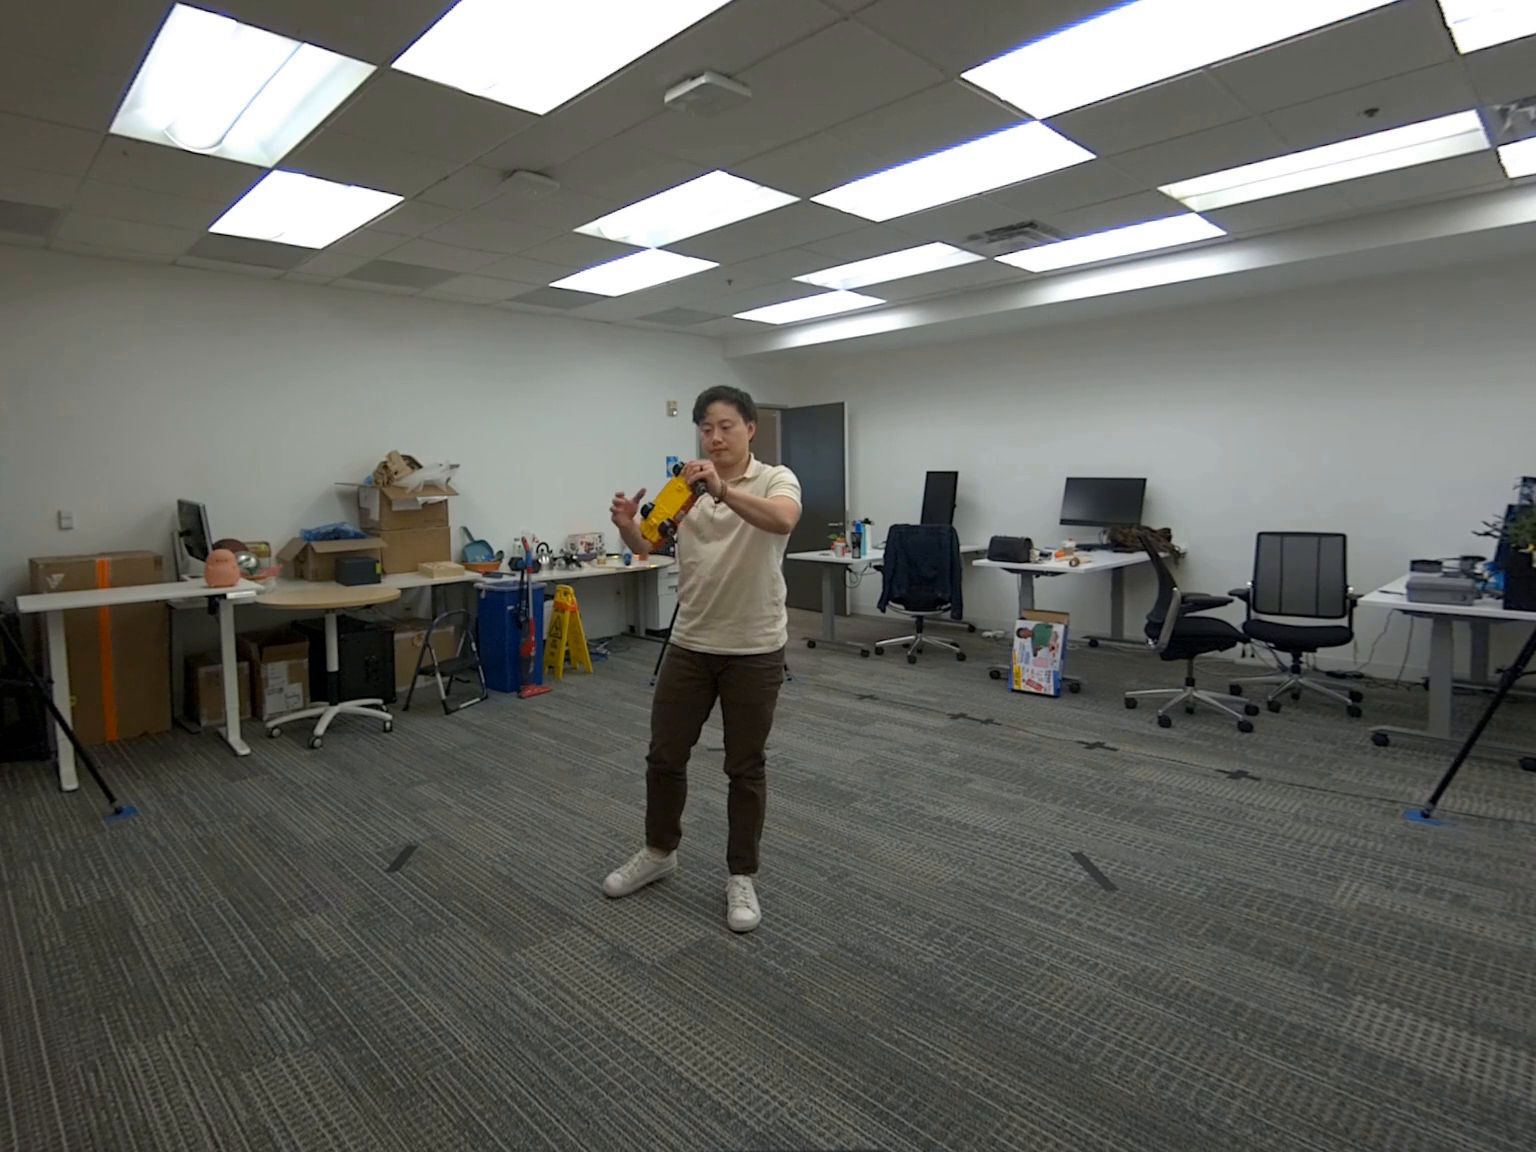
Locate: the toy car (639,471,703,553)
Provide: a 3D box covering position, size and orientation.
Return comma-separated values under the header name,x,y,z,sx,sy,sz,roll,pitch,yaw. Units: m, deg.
name,x,y,z,sx,sy,sz,roll,pitch,yaw
toy car,-0.271,-0.188,2.368,0.135,0.253,0.080,42,19,32
